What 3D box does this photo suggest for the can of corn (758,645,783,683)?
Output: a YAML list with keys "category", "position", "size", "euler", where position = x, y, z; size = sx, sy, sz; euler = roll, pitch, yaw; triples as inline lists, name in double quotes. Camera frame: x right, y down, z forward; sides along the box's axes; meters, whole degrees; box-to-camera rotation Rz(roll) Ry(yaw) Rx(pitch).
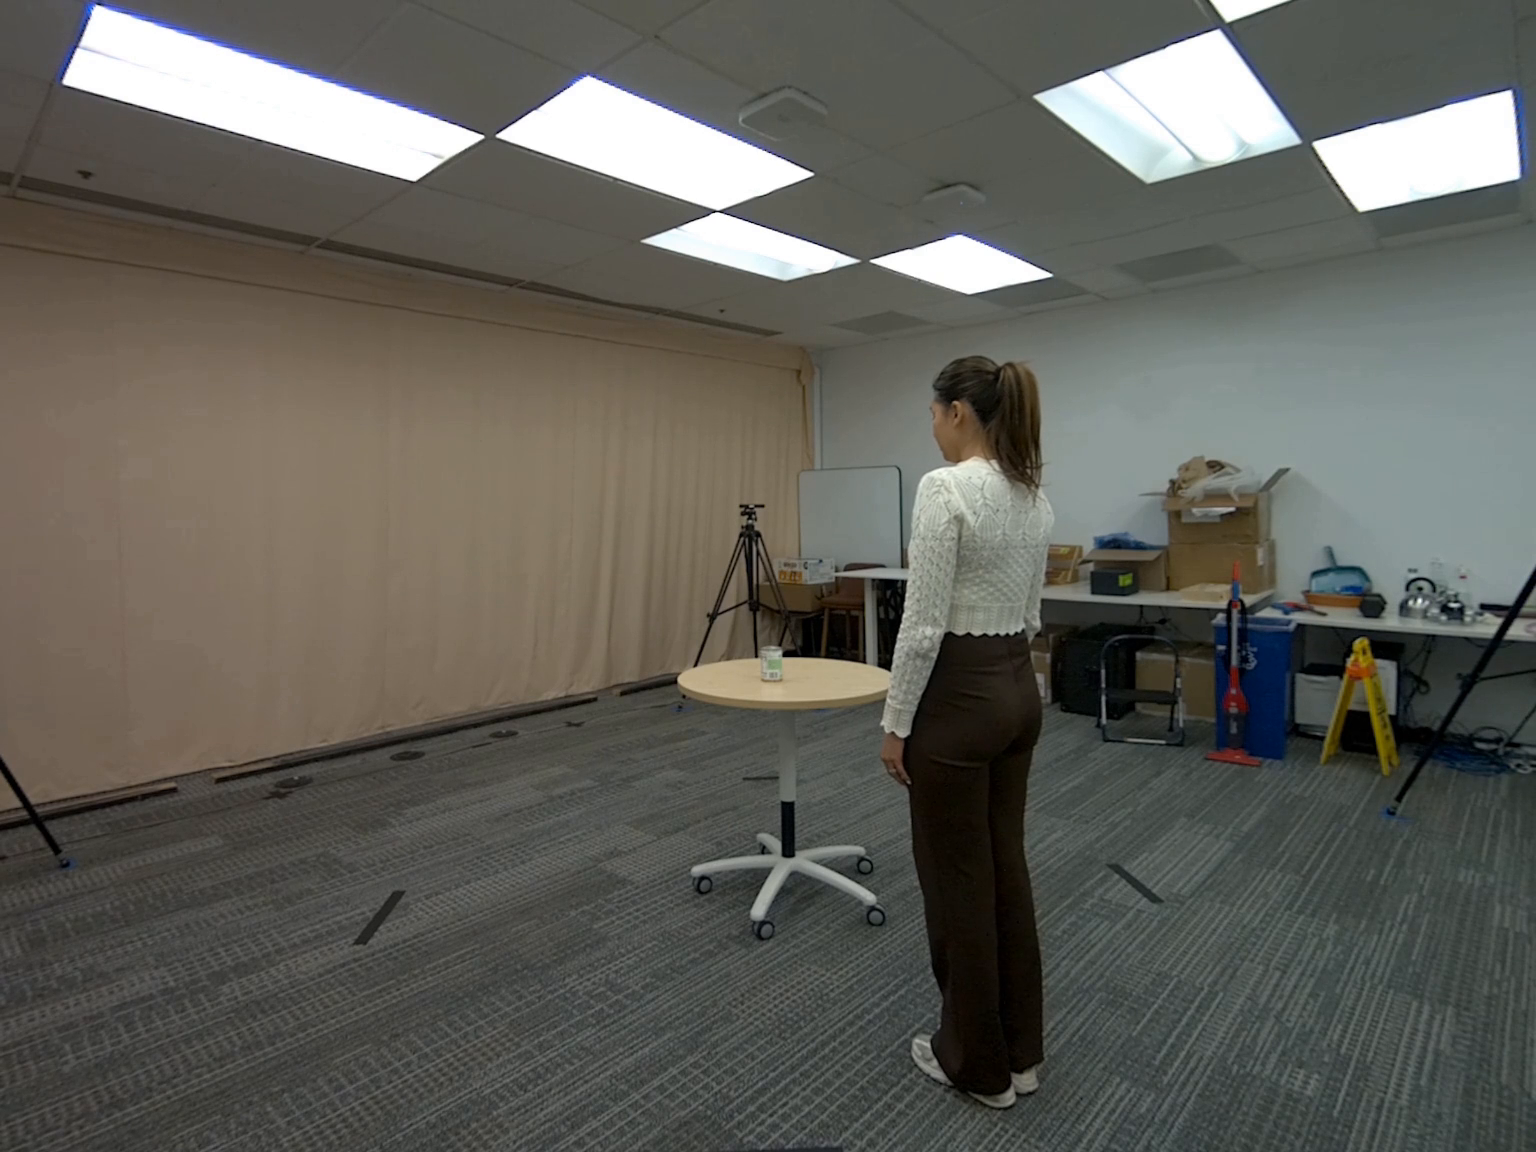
- category: "can of corn"
  position: [0.021, 0.306, 2.906]
  size: [0.074, 0.111, 0.074]
  euler: [-2, 5, -2]
